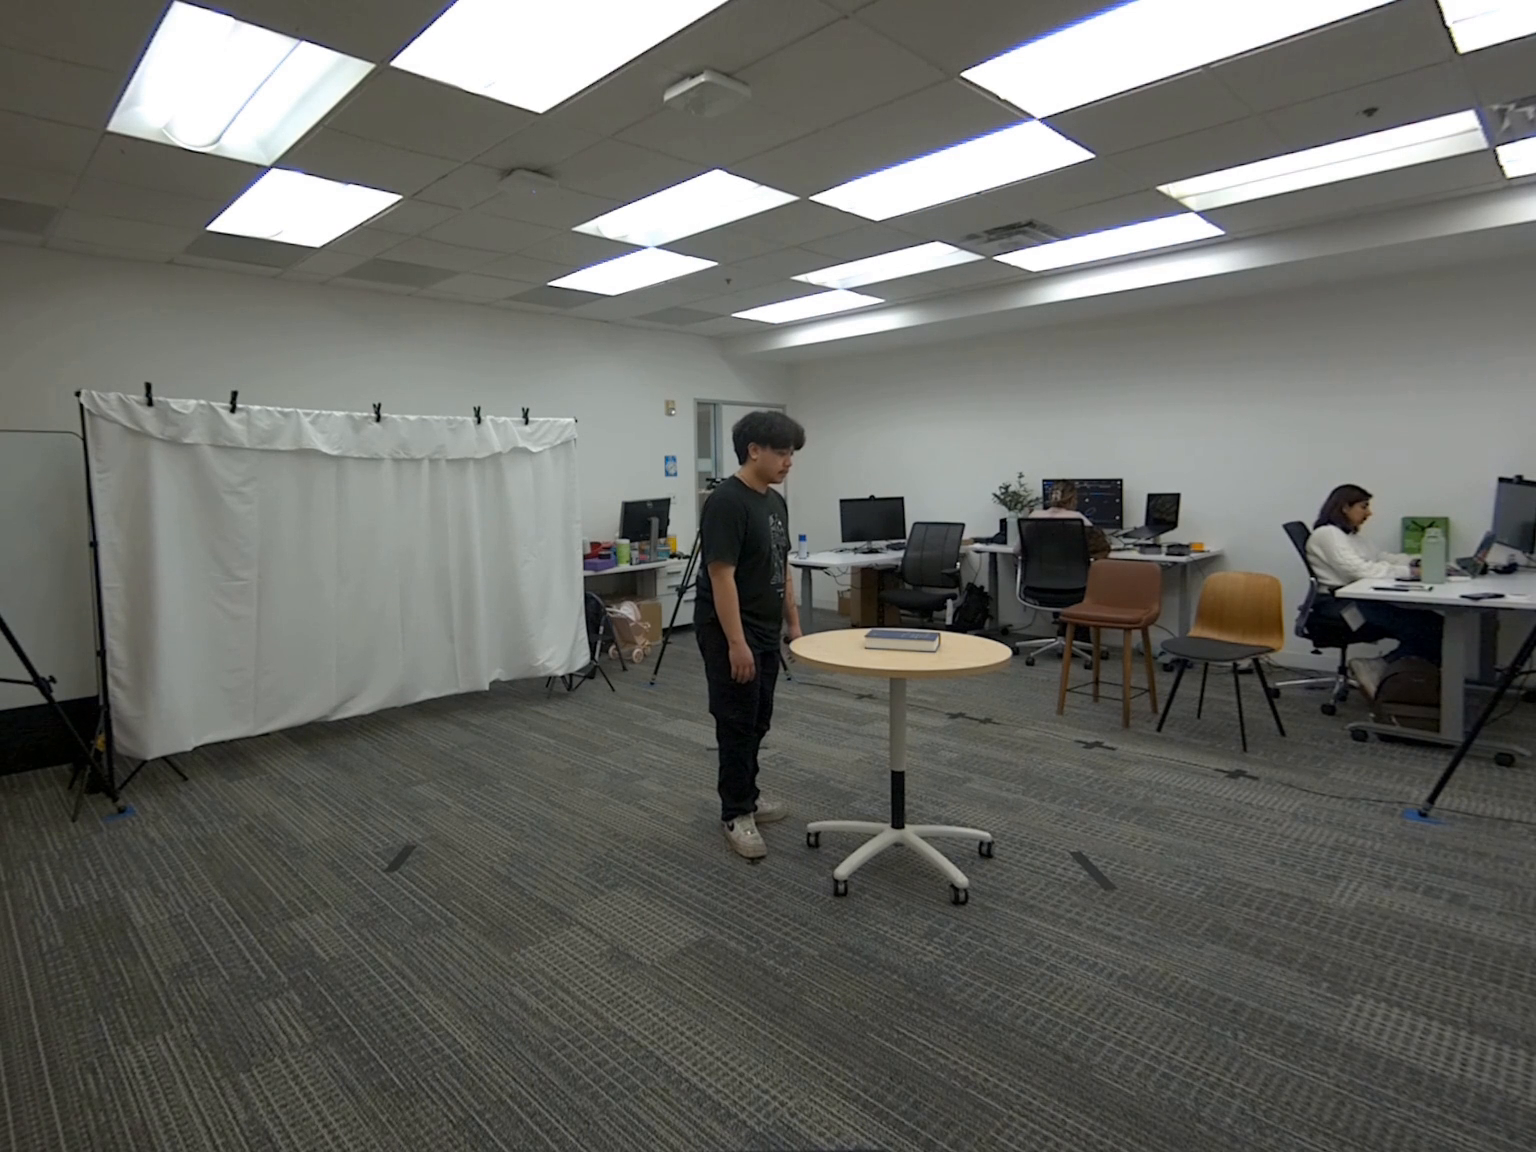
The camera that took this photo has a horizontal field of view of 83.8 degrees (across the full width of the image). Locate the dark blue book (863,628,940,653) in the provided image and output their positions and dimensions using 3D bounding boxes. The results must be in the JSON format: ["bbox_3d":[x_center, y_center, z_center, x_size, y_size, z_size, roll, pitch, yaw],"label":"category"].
[{"bbox_3d":[0.493,0.232,3.025,0.250,0.045,0.161,2,6,19],"label":"dark blue book"}]
